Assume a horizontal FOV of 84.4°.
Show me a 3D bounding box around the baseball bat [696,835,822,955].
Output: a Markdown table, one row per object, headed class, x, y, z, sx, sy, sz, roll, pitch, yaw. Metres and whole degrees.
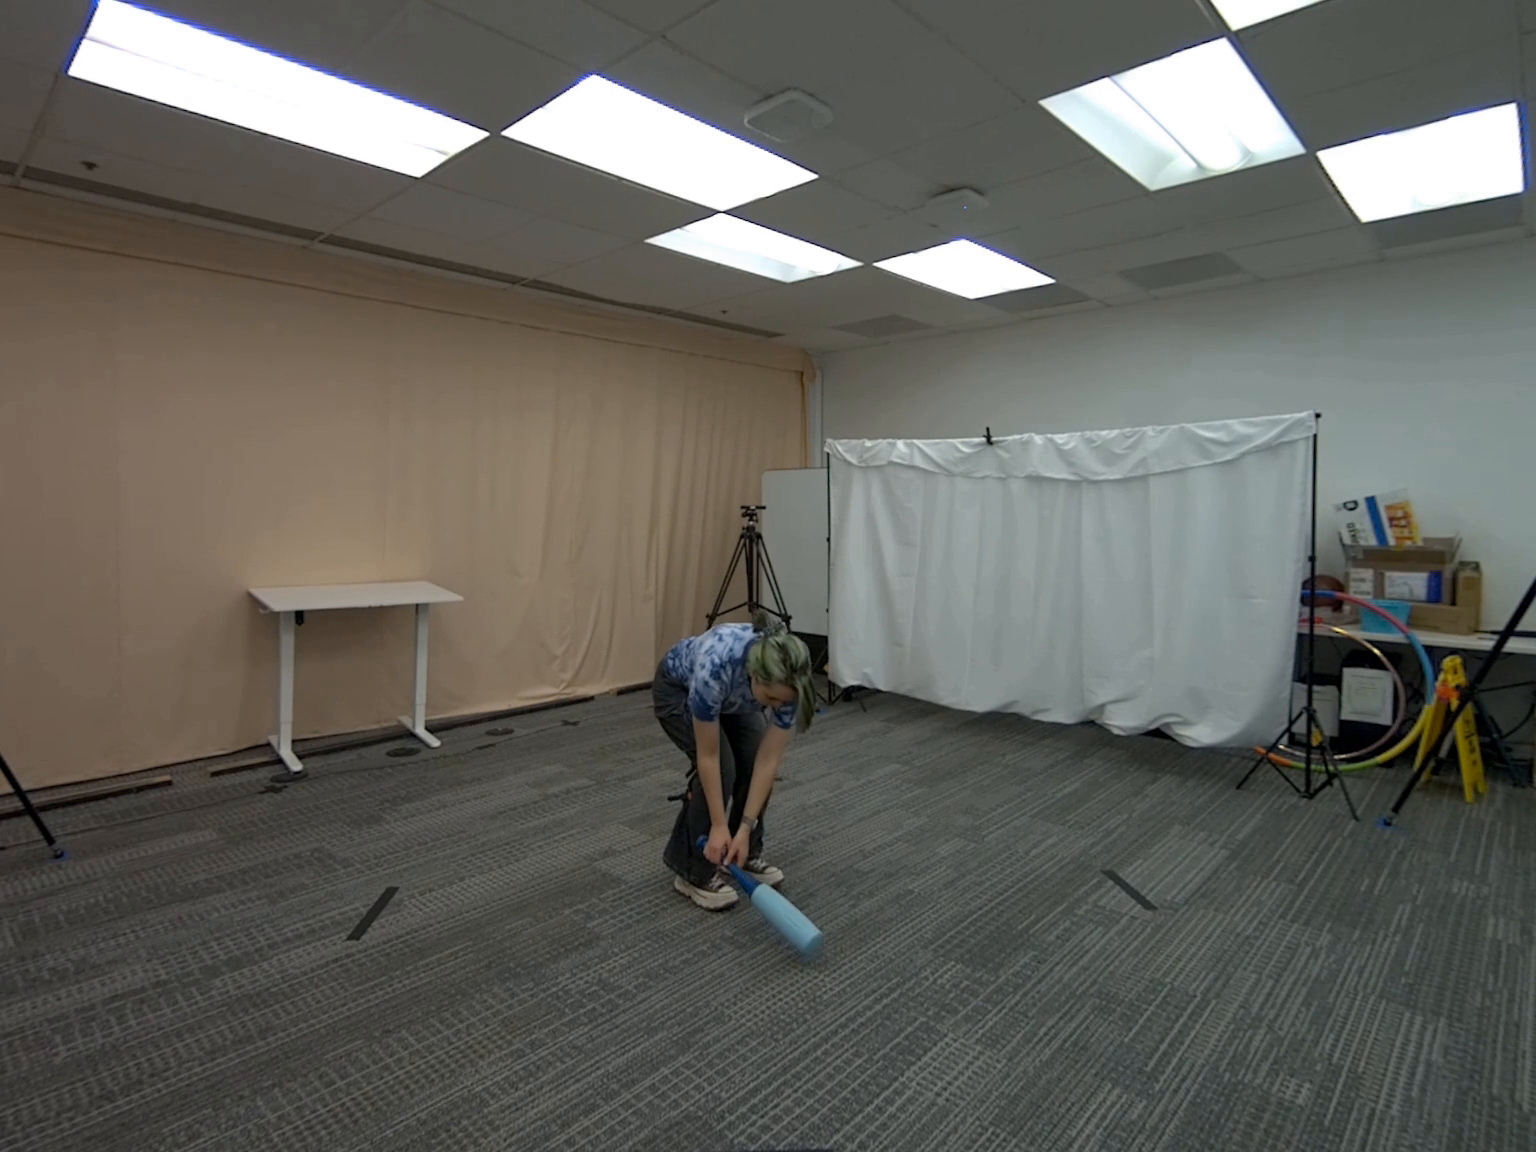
| class | x | y | z | sx | sy | sz | roll | pitch | yaw |
| --- | --- | --- | --- | --- | --- | --- | --- | --- | --- |
| baseball bat | -0.038 | 0.999 | 2.669 | 0.563 | 0.088 | 0.086 | 26 | 20 | 40 |
